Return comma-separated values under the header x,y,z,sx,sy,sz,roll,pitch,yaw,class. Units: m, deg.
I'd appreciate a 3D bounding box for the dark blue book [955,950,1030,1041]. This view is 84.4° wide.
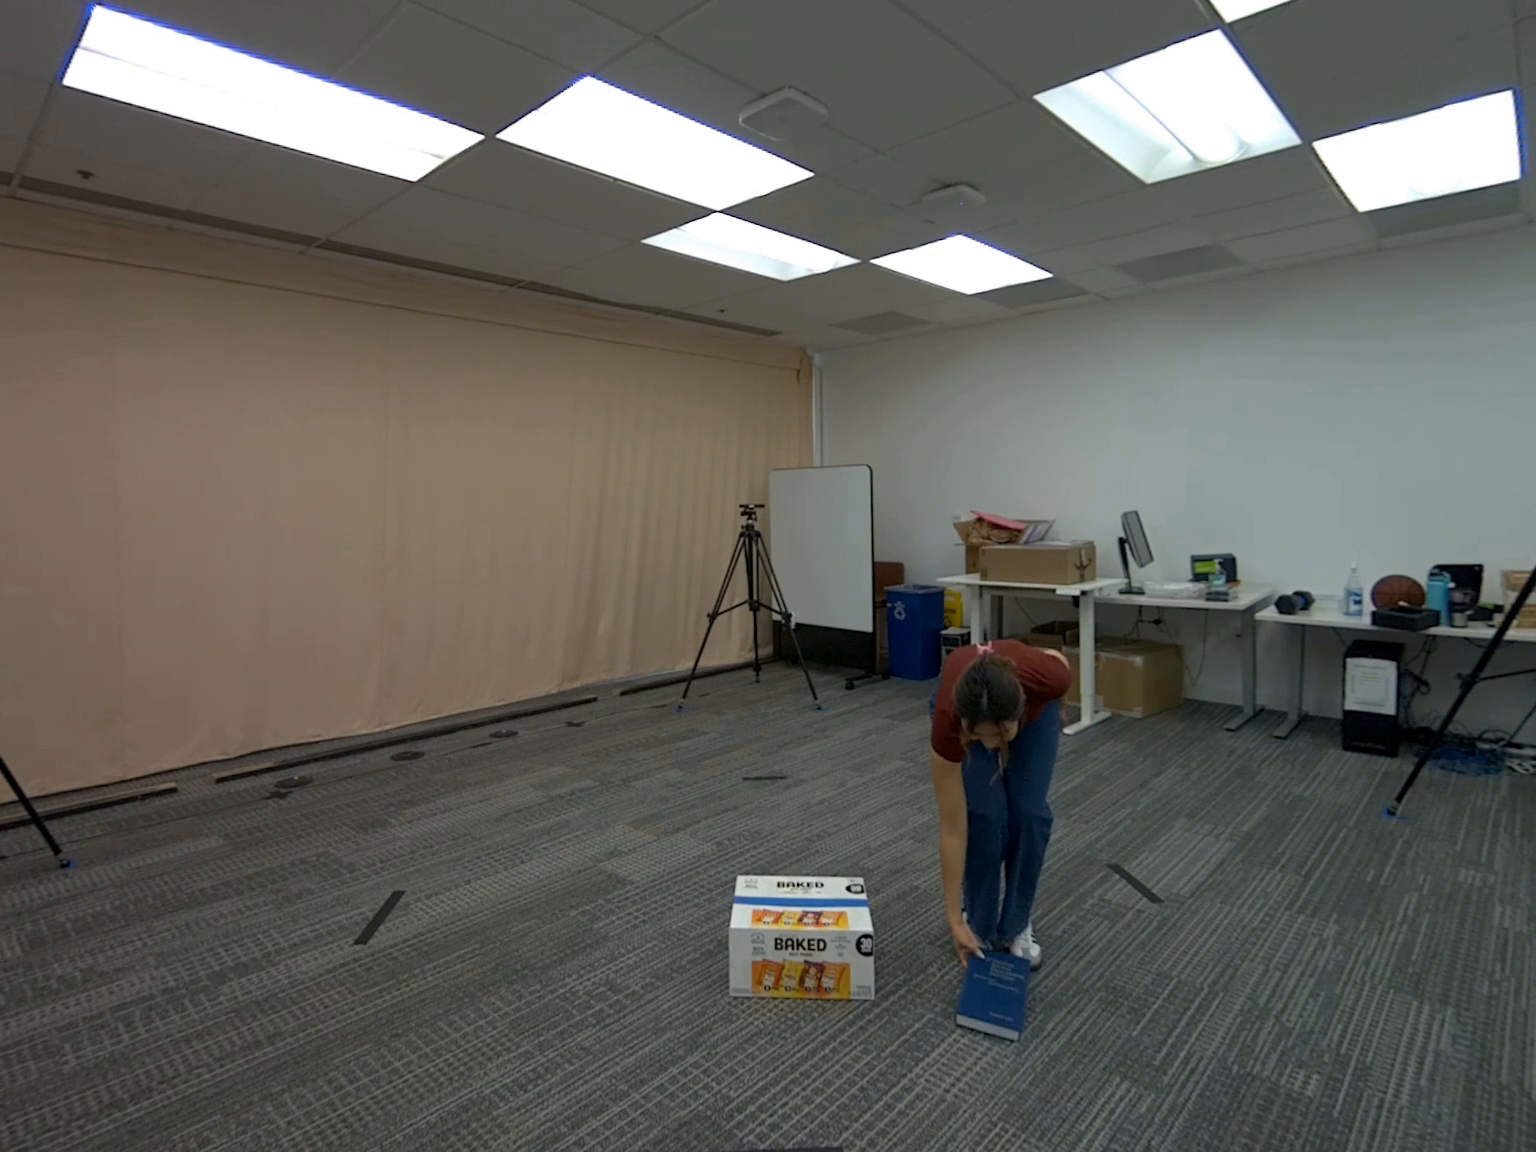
x,y,z,sx,sy,sz,roll,pitch,yaw,class
0.630,1.126,2.290,0.167,0.044,0.243,5,24,22,dark blue book
